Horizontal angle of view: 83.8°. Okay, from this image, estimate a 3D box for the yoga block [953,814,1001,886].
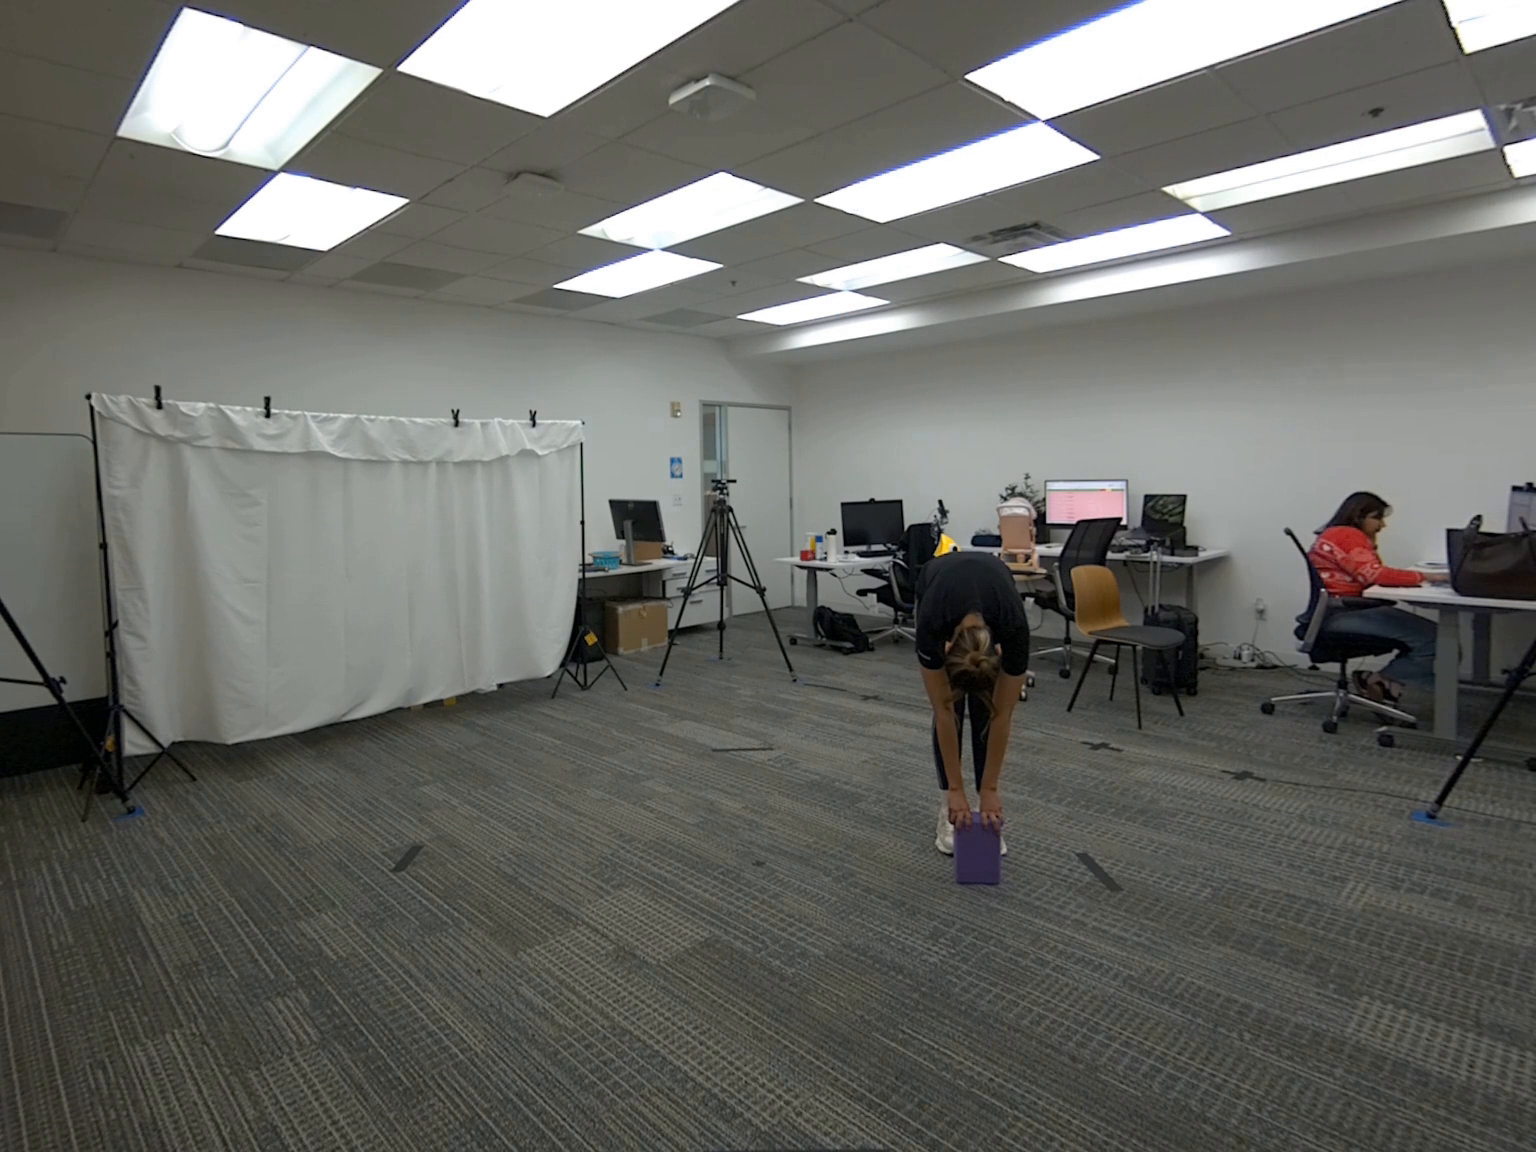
[{"bbox_3d":[0.724,0.945,2.942,0.150,0.229,0.076,-2,3,5],"label":"yoga block"}]
